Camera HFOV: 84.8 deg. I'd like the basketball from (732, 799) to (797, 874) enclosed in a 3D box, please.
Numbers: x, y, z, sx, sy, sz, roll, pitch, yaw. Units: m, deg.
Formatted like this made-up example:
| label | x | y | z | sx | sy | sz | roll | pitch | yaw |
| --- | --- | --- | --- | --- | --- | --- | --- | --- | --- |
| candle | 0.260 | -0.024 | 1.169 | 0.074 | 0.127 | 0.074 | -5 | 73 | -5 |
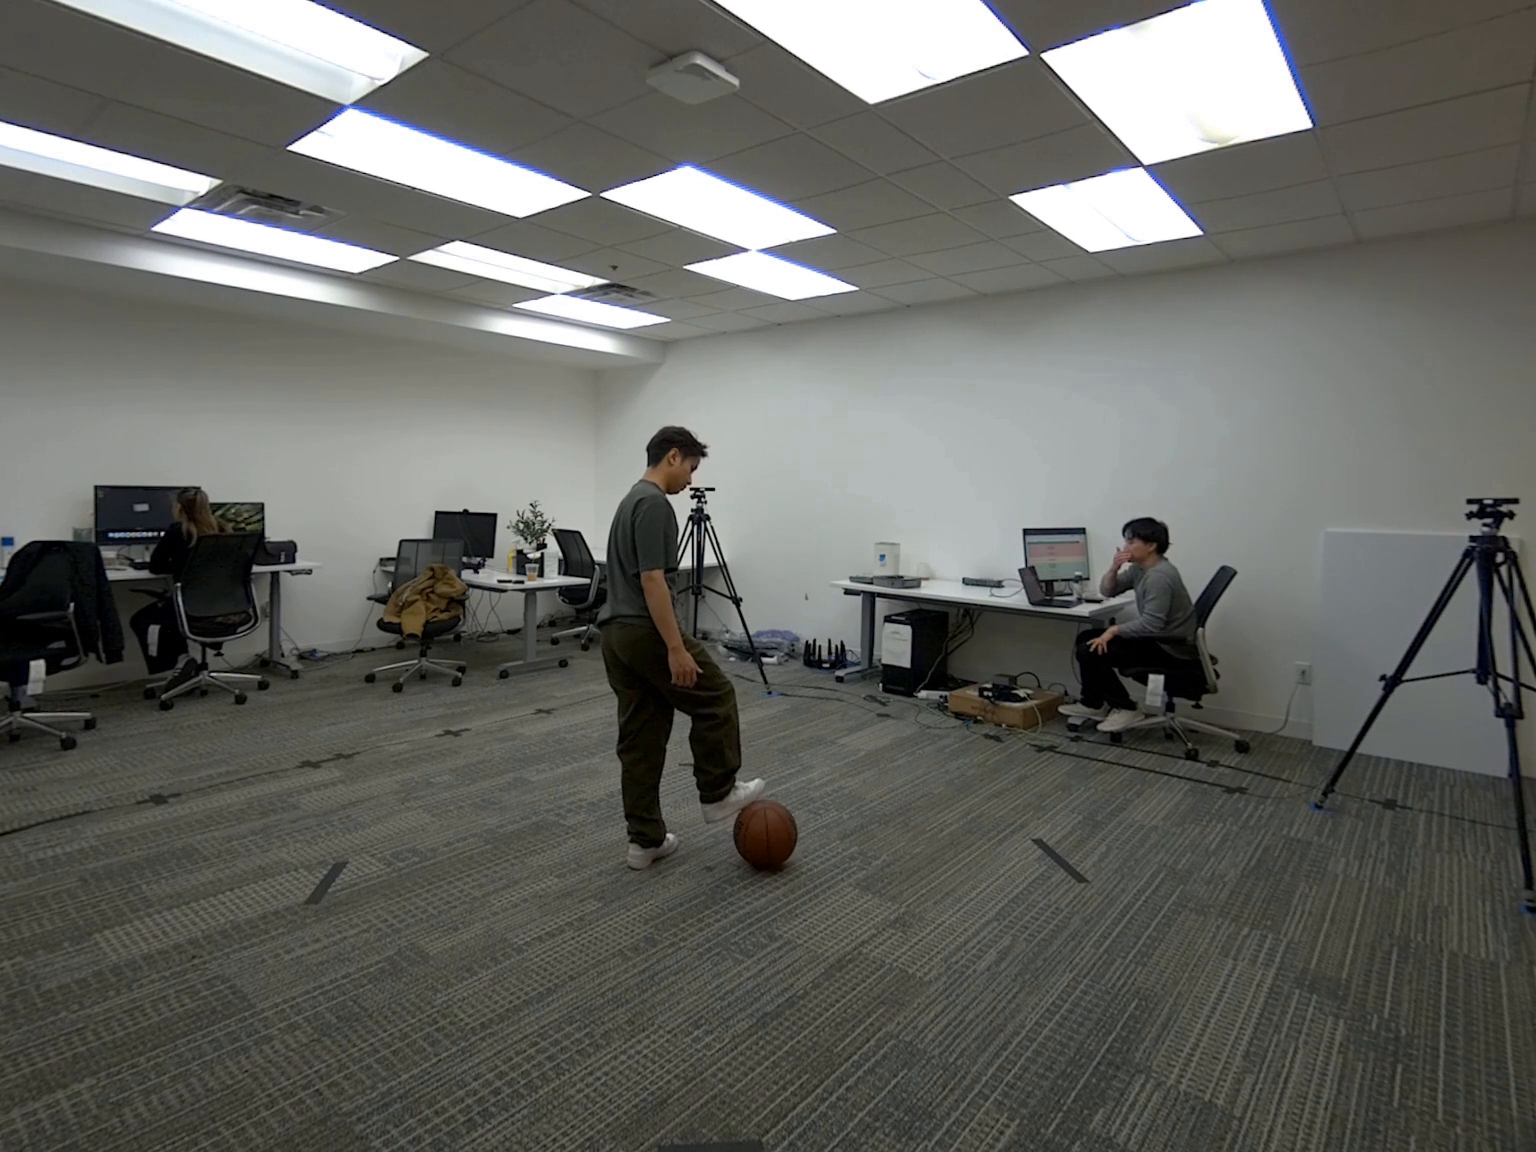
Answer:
| label | x | y | z | sx | sy | sz | roll | pitch | yaw |
| --- | --- | --- | --- | --- | --- | --- | --- | --- | --- |
| basketball | -0.016 | 0.948 | 3.137 | 0.235 | 0.235 | 0.237 | 1 | 4 | -2 |
